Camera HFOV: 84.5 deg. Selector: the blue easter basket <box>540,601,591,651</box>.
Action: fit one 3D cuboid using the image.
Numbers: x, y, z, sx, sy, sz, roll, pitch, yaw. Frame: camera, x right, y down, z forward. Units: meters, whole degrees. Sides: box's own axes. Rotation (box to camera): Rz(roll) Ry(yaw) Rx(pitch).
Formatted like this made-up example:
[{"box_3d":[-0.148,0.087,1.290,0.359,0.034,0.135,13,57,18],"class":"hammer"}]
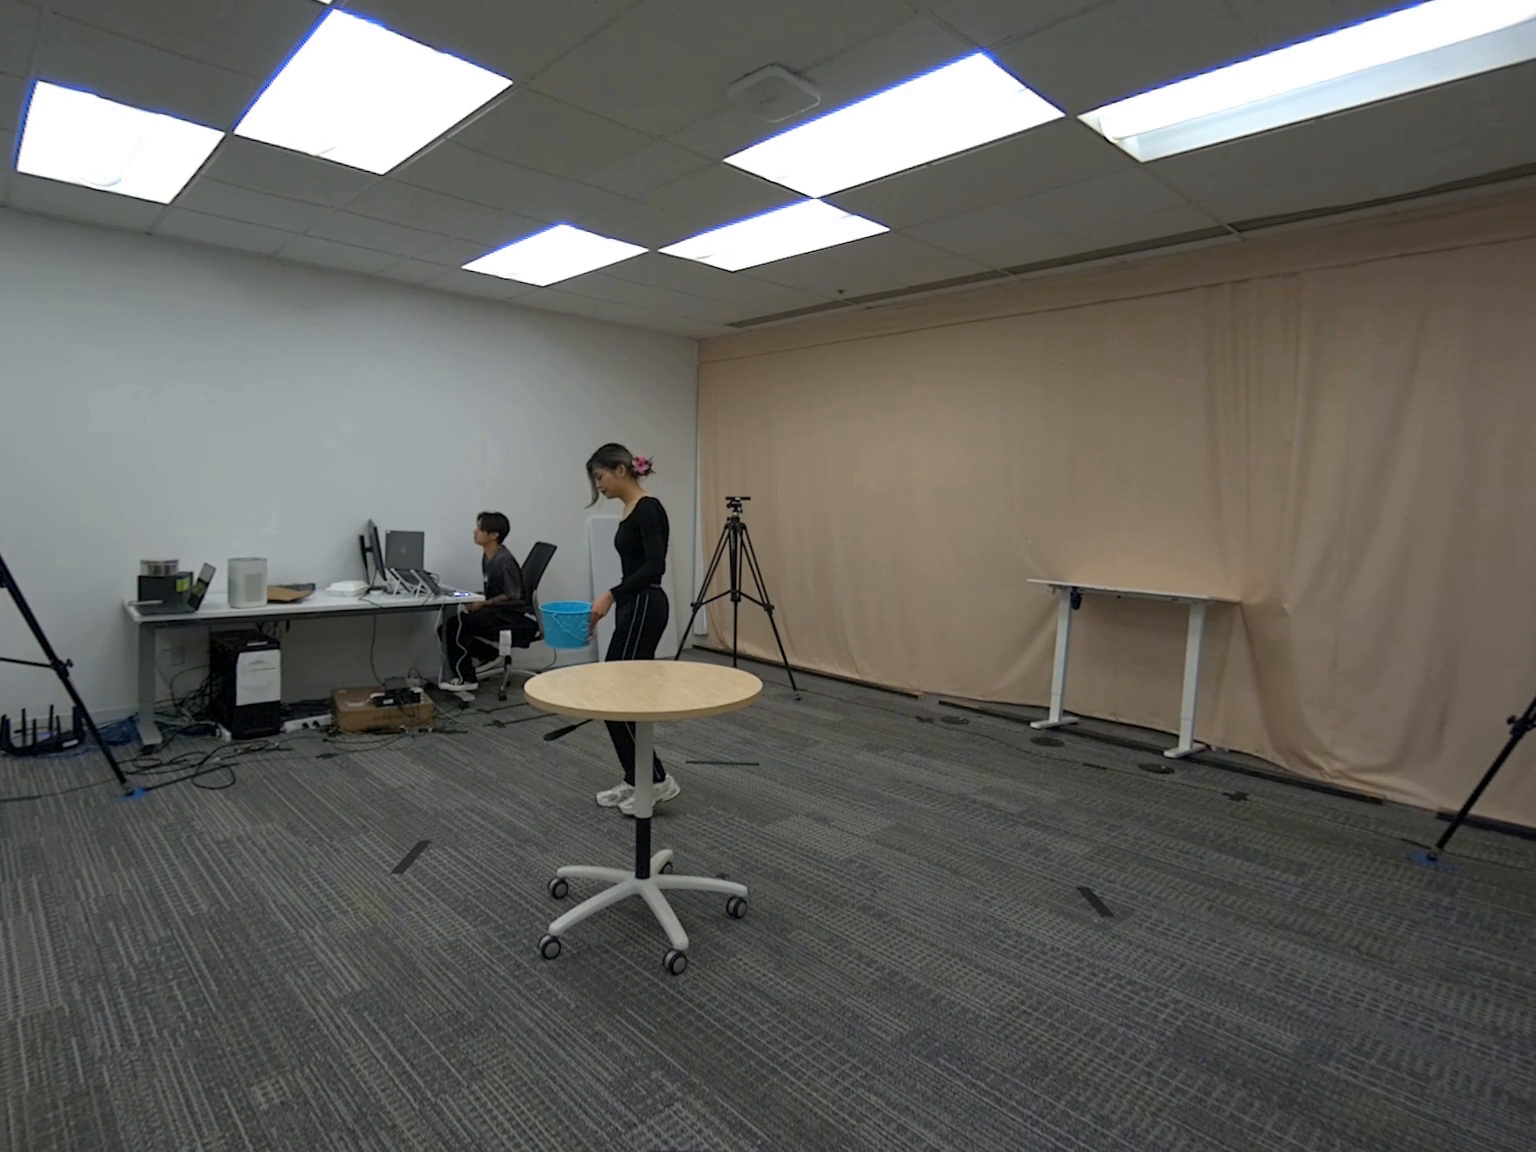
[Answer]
[{"box_3d":[-0.834,0.203,3.435,0.243,0.155,0.245,2,9,-2],"class":"blue easter basket"}]
